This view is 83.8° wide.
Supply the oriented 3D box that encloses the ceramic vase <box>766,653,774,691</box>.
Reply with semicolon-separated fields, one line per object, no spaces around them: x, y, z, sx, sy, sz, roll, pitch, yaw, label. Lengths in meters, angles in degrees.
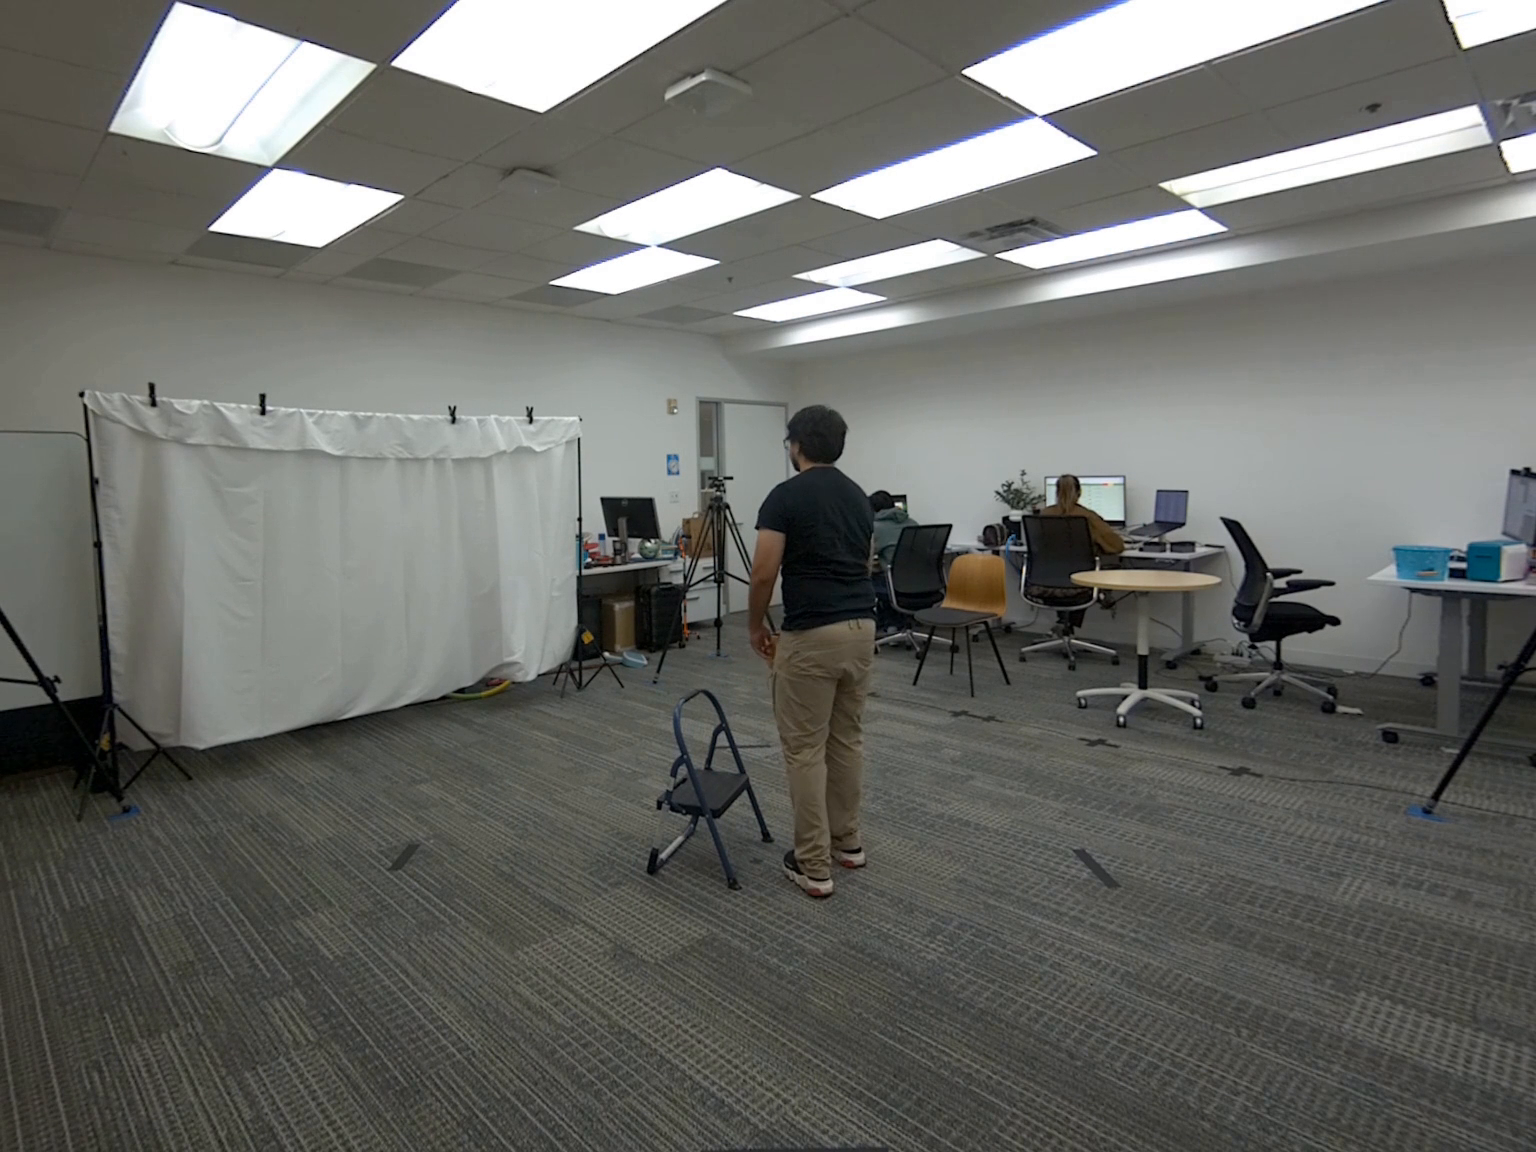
0.079;0.333;3.210;0.158;0.220;0.135;0;1;-3;ceramic vase
